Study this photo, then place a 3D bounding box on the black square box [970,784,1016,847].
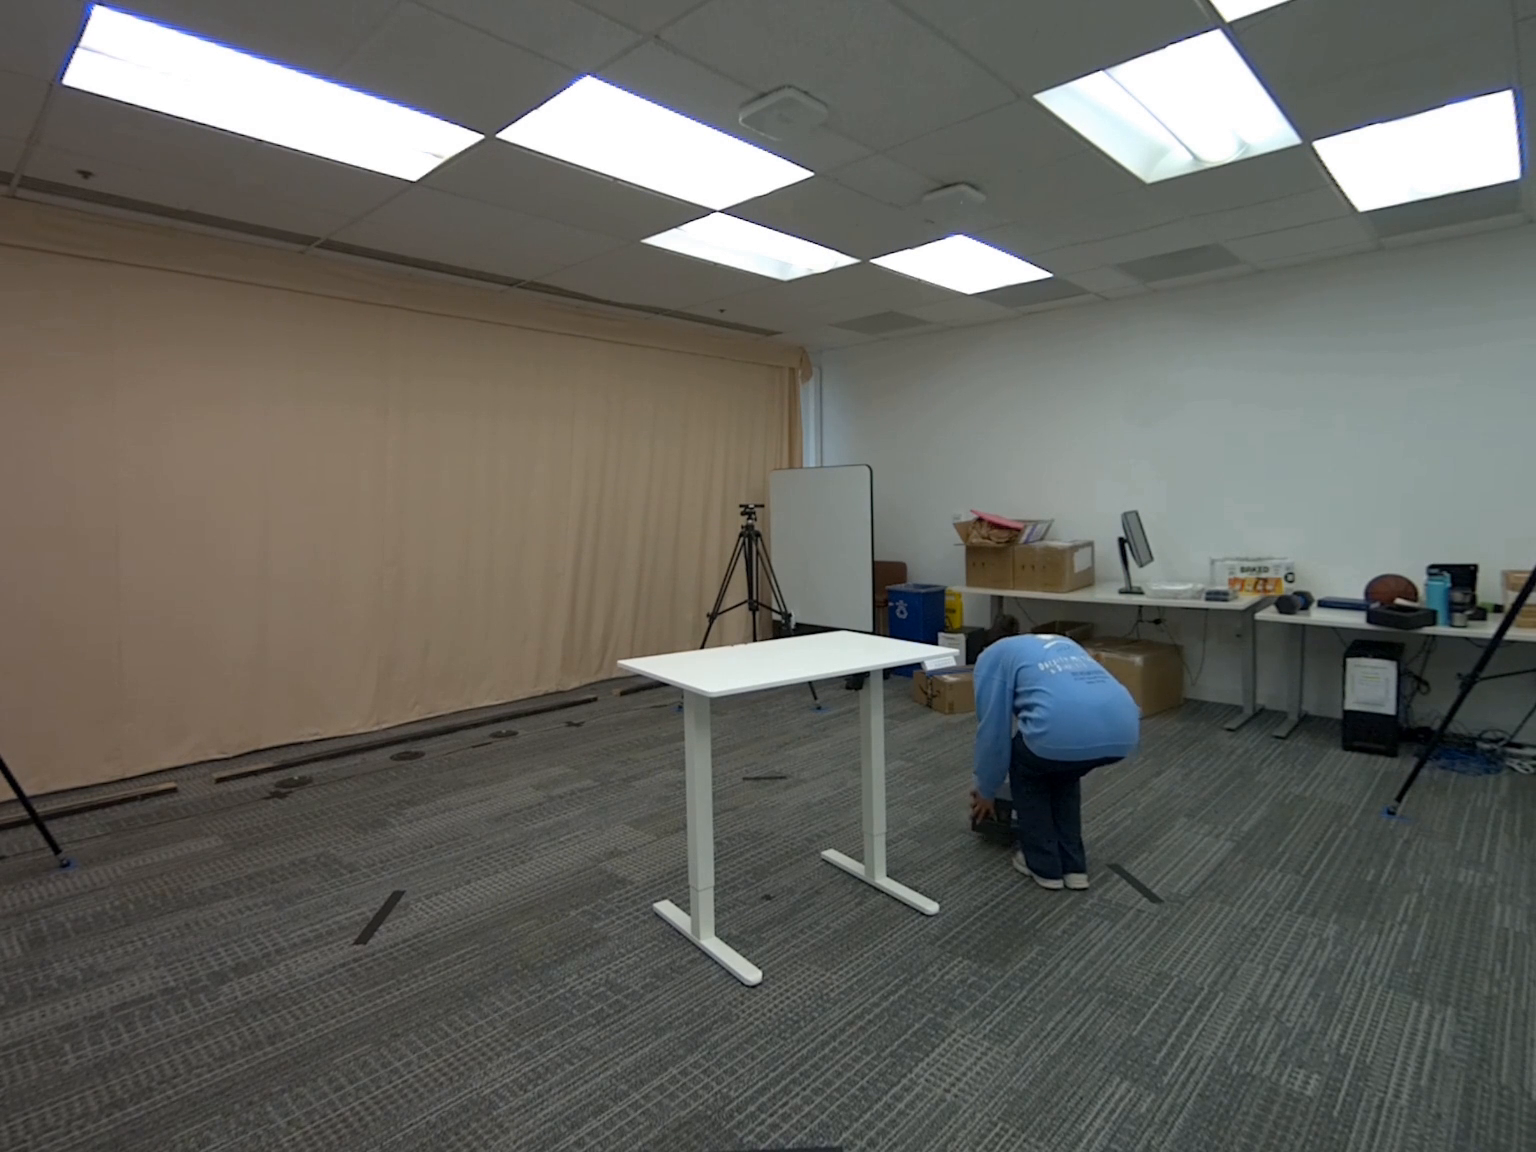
[{"bbox_3d":[0.971,0.934,3.439,0.222,0.155,0.223,4,5,23],"label":"black square box"}]
